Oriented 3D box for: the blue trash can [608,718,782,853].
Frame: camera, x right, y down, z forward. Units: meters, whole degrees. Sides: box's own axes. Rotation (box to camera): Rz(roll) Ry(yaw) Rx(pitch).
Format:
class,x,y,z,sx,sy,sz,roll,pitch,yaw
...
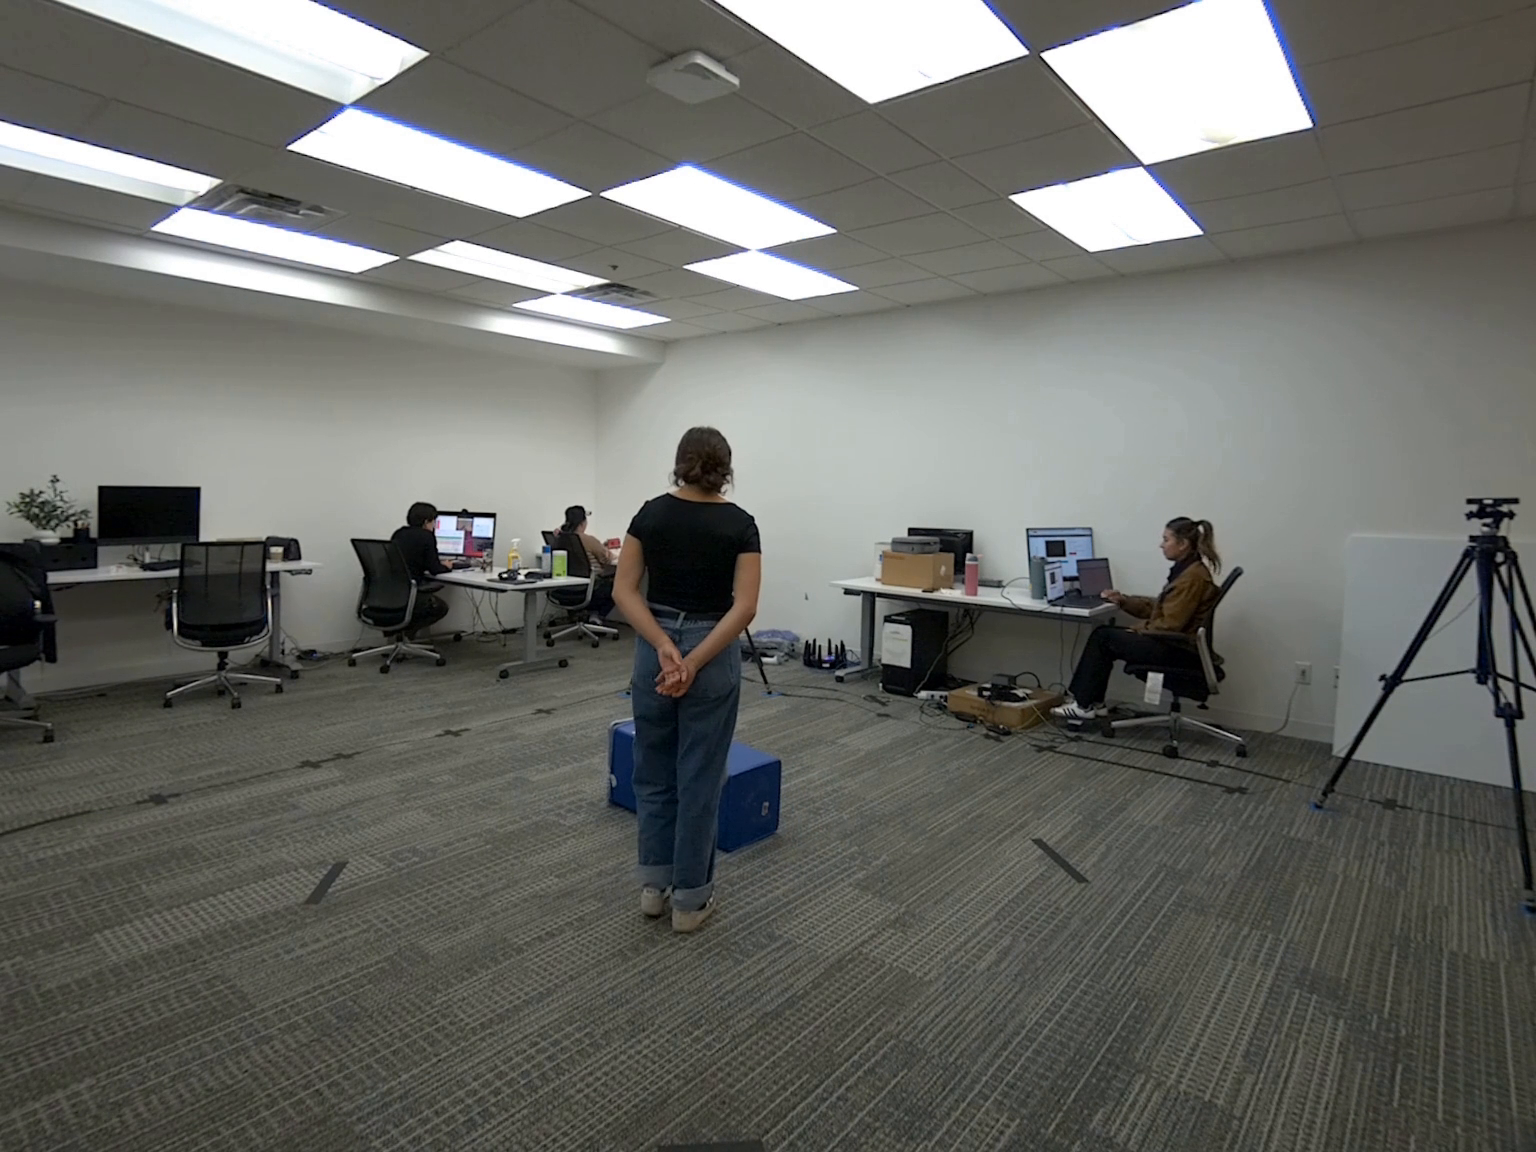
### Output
class,x,y,z,sx,sy,sz,roll,pitch,yaw
blue trash can,-0.323,0.849,3.579,0.739,0.376,0.363,9,8,42
